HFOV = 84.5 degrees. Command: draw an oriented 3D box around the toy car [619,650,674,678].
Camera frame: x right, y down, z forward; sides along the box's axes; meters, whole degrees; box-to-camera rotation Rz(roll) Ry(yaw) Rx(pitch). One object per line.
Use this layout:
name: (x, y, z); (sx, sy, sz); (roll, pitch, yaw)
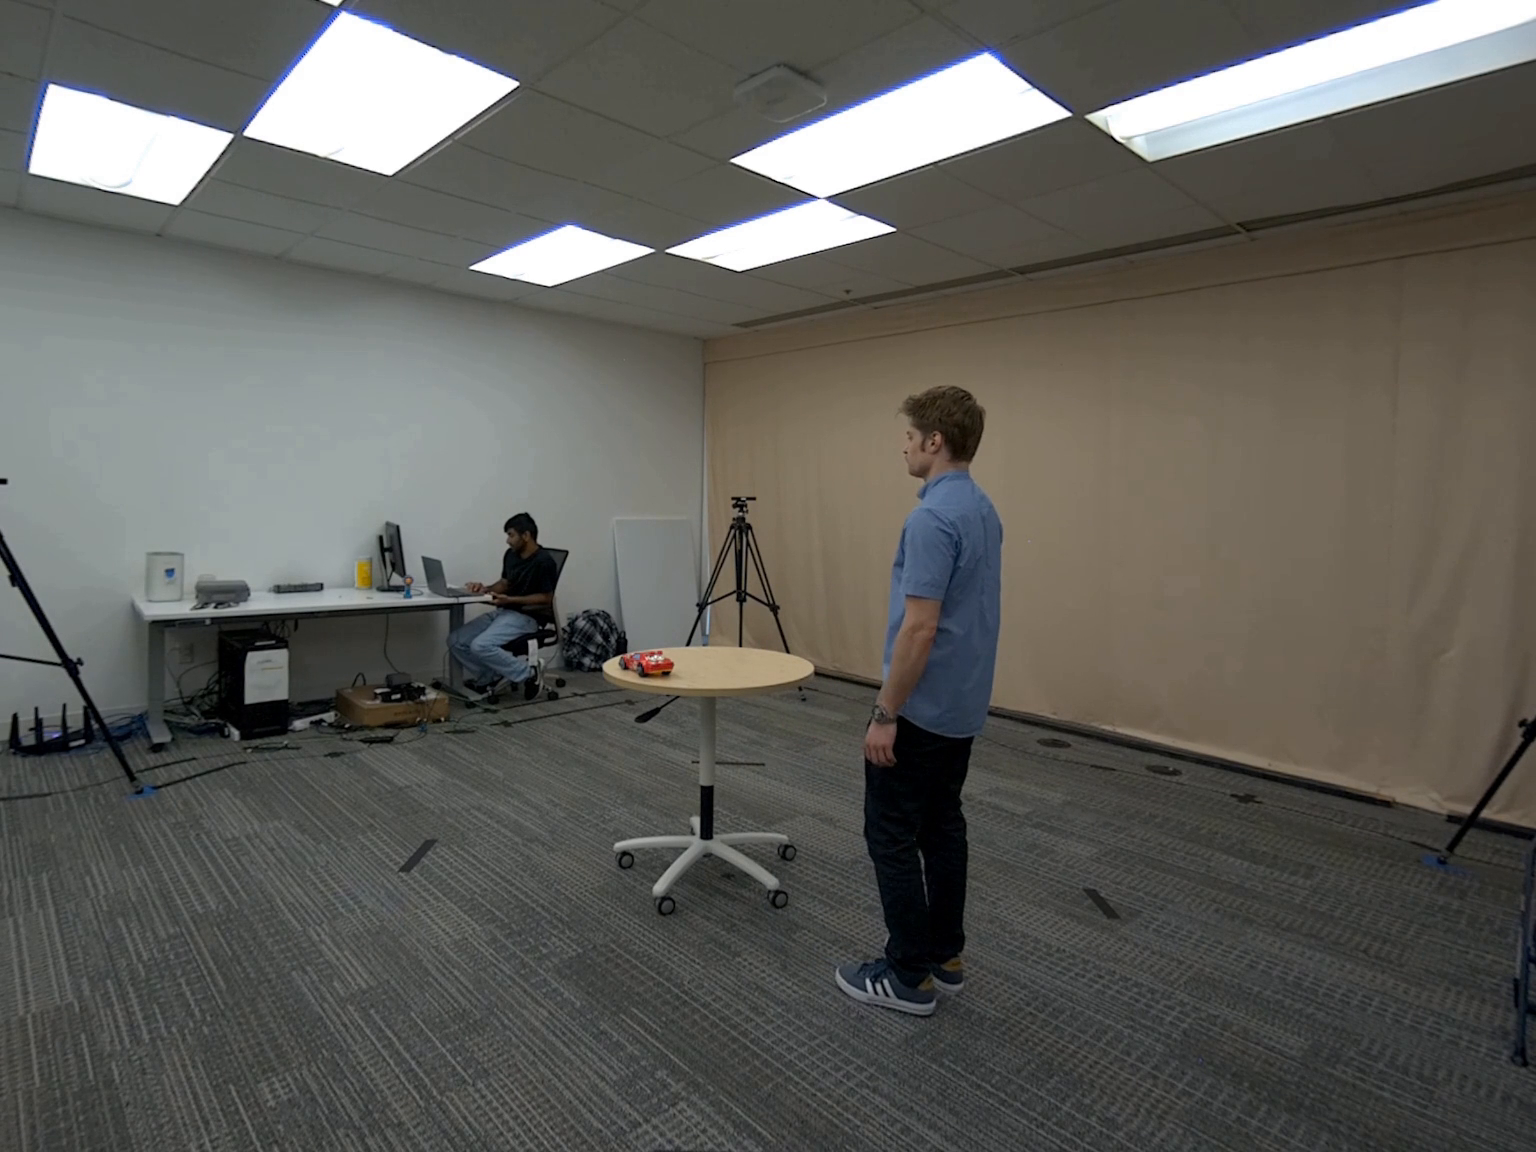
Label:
toy car: (-0.424, 0.306, 2.907); (0.127, 0.083, 0.259); (-2, -5, -33)
